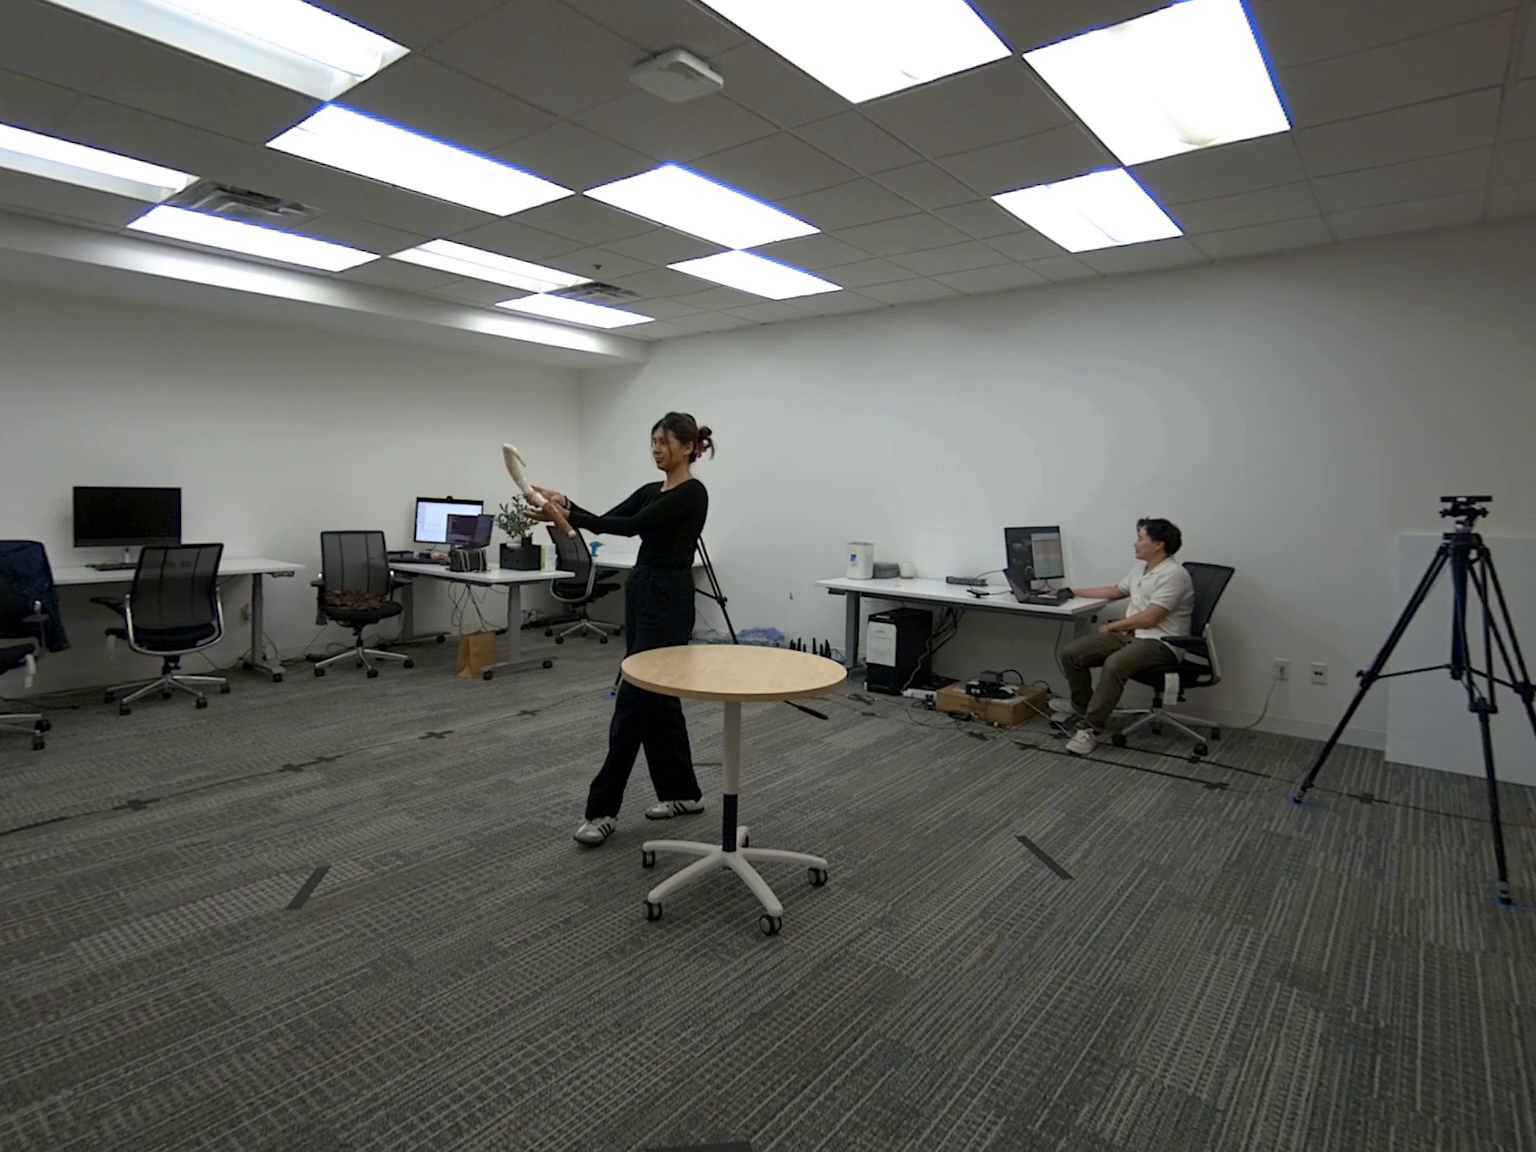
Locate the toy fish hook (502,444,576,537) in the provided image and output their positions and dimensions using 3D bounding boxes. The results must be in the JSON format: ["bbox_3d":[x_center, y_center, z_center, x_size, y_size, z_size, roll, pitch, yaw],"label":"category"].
[{"bbox_3d":[-0.888,-0.334,3.214,0.048,0.218,0.525,-33,59,-24],"label":"toy fish hook"}]
